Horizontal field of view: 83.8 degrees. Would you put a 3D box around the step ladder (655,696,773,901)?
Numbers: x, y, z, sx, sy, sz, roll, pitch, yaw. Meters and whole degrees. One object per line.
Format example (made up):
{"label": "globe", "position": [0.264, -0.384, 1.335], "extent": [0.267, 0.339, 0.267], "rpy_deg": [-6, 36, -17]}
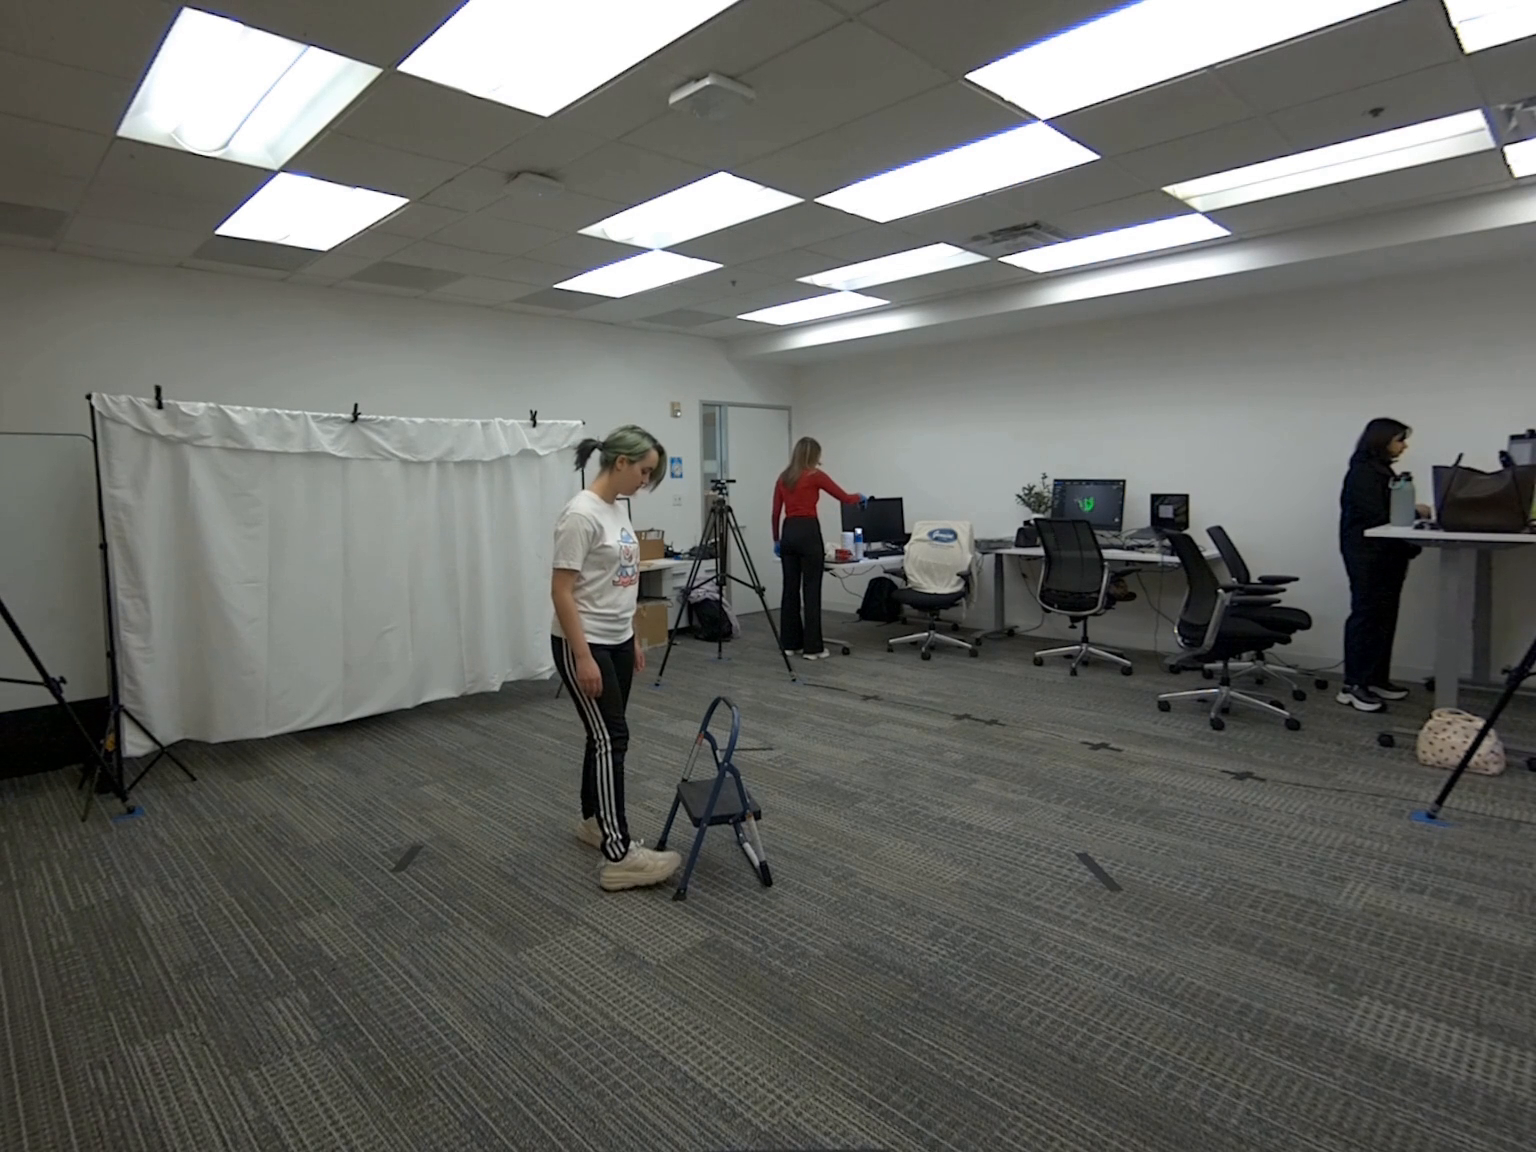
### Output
{"label": "step ladder", "position": [-0.204, 0.758, 3.067], "extent": [0.345, 0.604, 0.438], "rpy_deg": [0, 4, -14]}
